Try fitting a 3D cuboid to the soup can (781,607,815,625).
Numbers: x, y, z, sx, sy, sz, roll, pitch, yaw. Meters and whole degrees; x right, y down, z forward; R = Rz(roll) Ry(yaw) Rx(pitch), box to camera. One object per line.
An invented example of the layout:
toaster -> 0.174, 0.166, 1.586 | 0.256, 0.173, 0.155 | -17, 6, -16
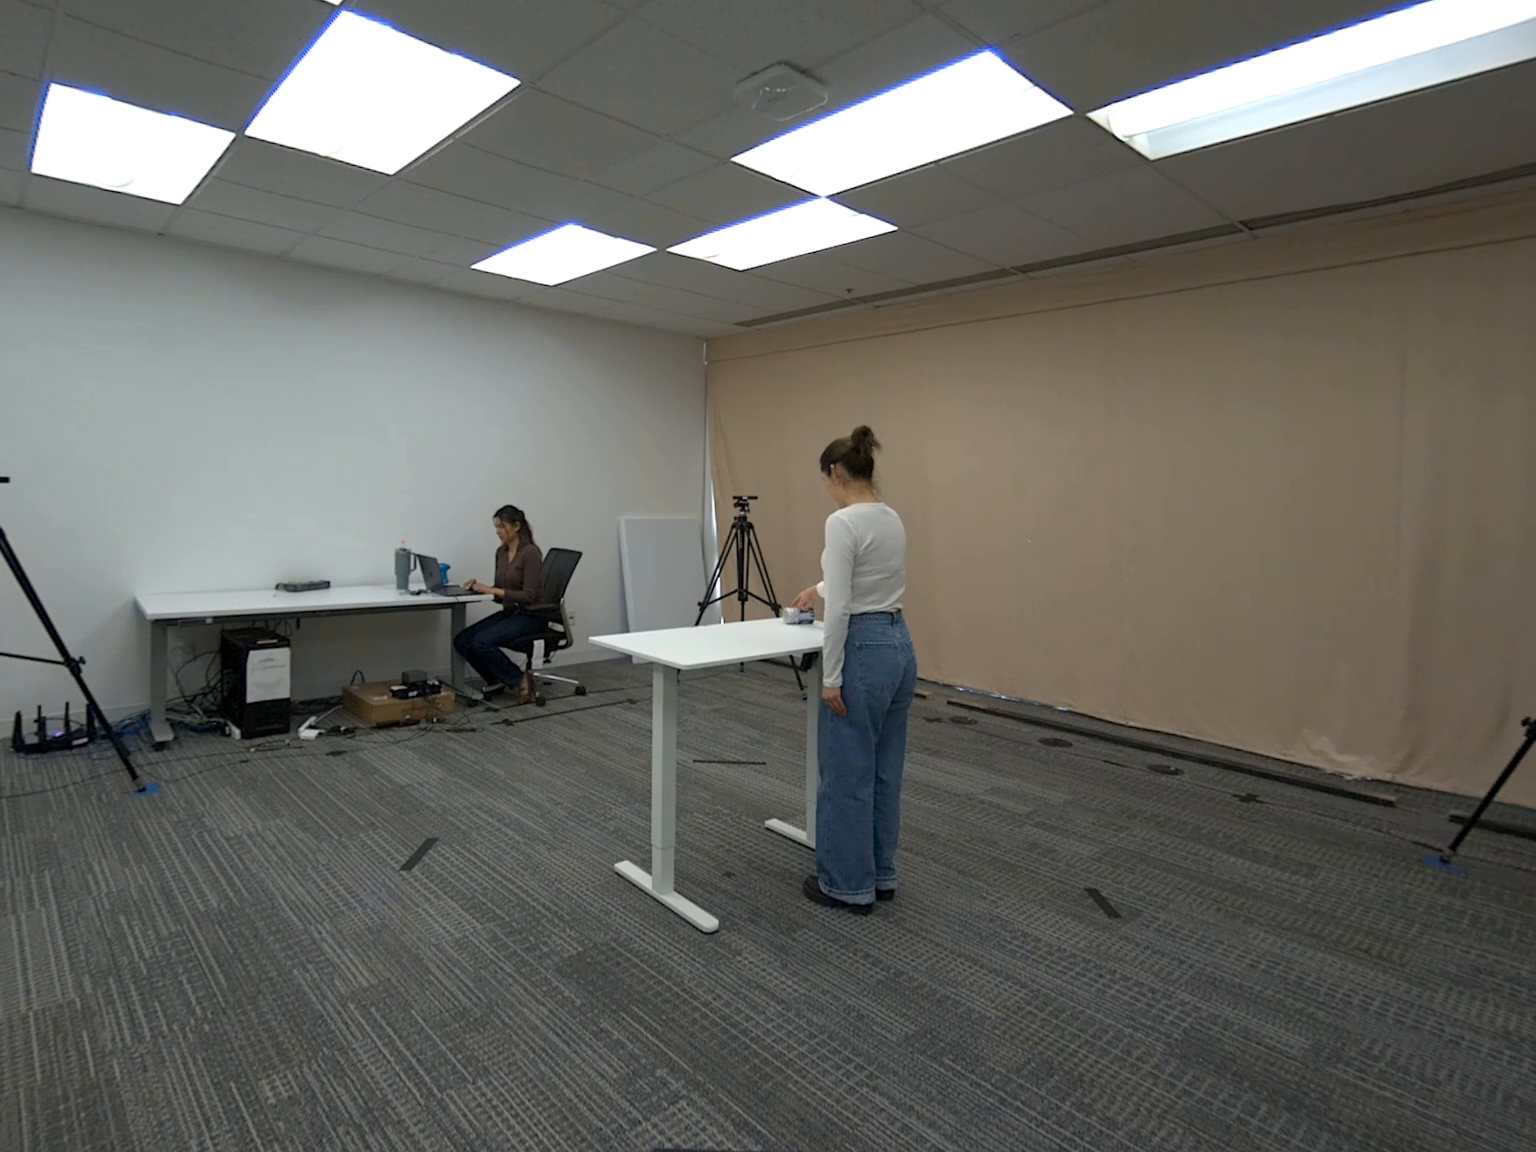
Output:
soup can -> 0.104, 0.163, 3.443 | 0.066, 0.067, 0.123 | 0, 4, -18
